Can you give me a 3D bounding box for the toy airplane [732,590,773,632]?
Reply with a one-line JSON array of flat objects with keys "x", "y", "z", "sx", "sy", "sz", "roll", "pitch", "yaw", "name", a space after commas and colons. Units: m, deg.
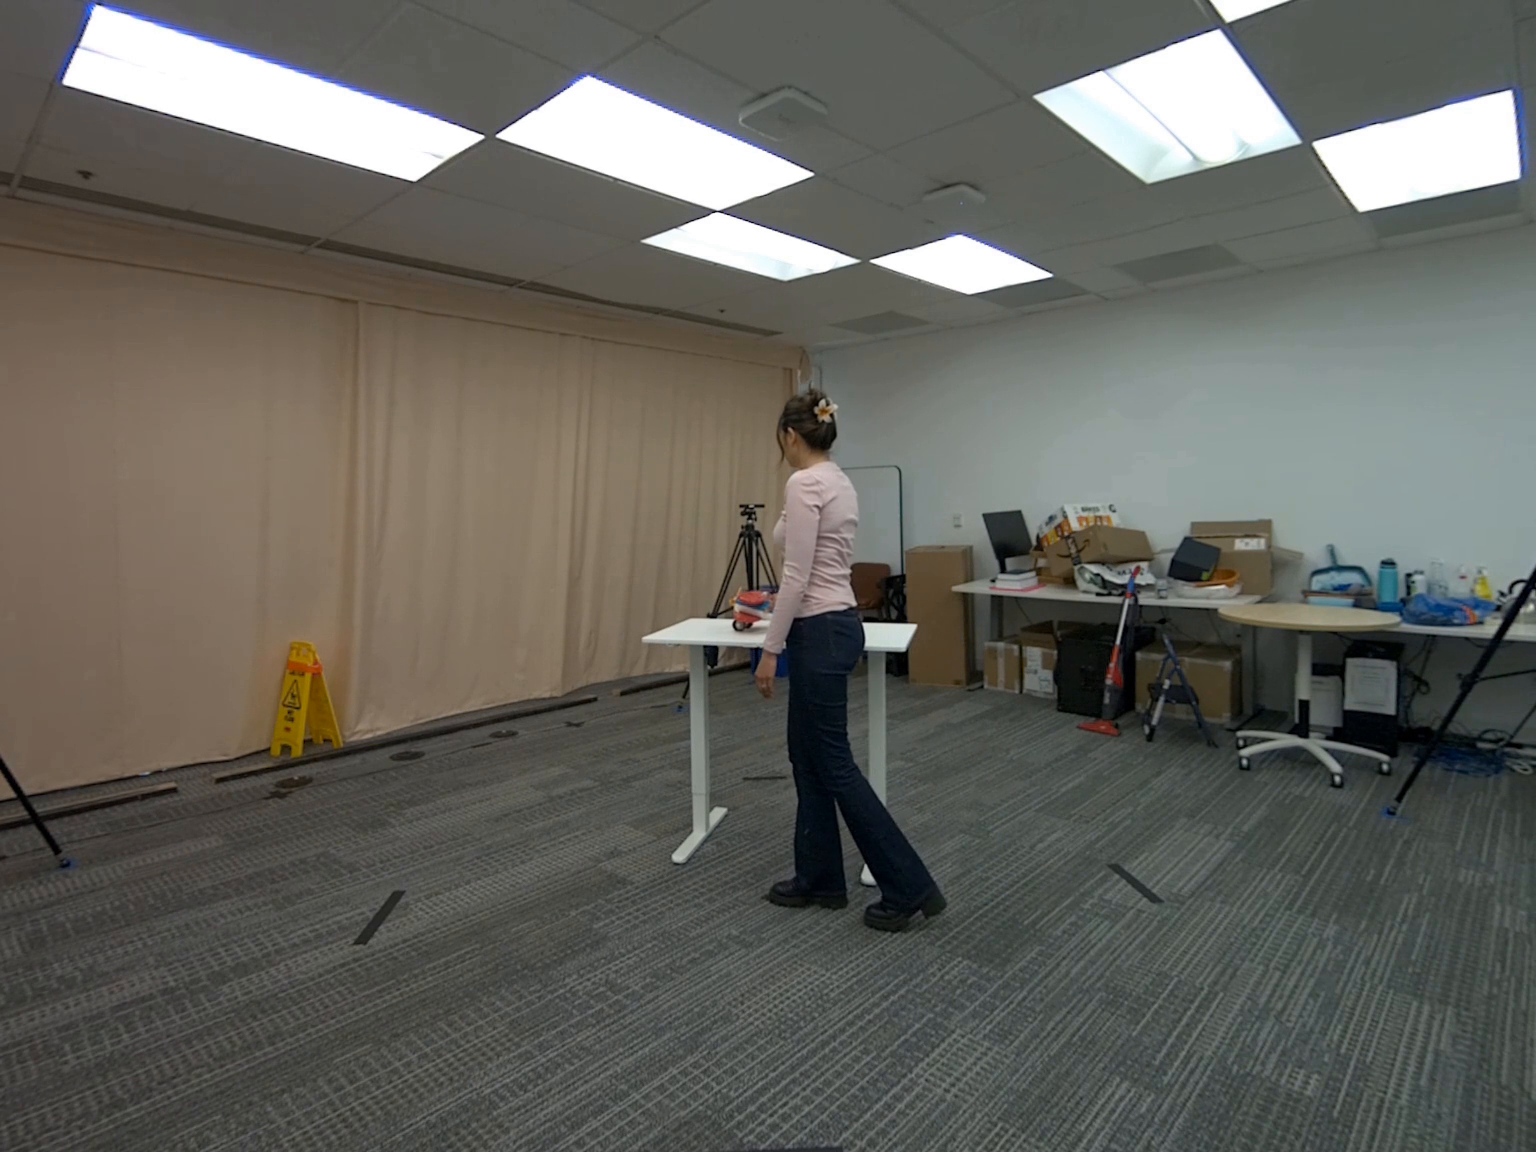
[{"x": -0.017, "y": 0.145, "z": 3.433, "sx": 0.257, "sy": 0.156, "sz": 0.254, "roll": -2, "pitch": 6, "yaw": -9, "name": "toy airplane"}]
